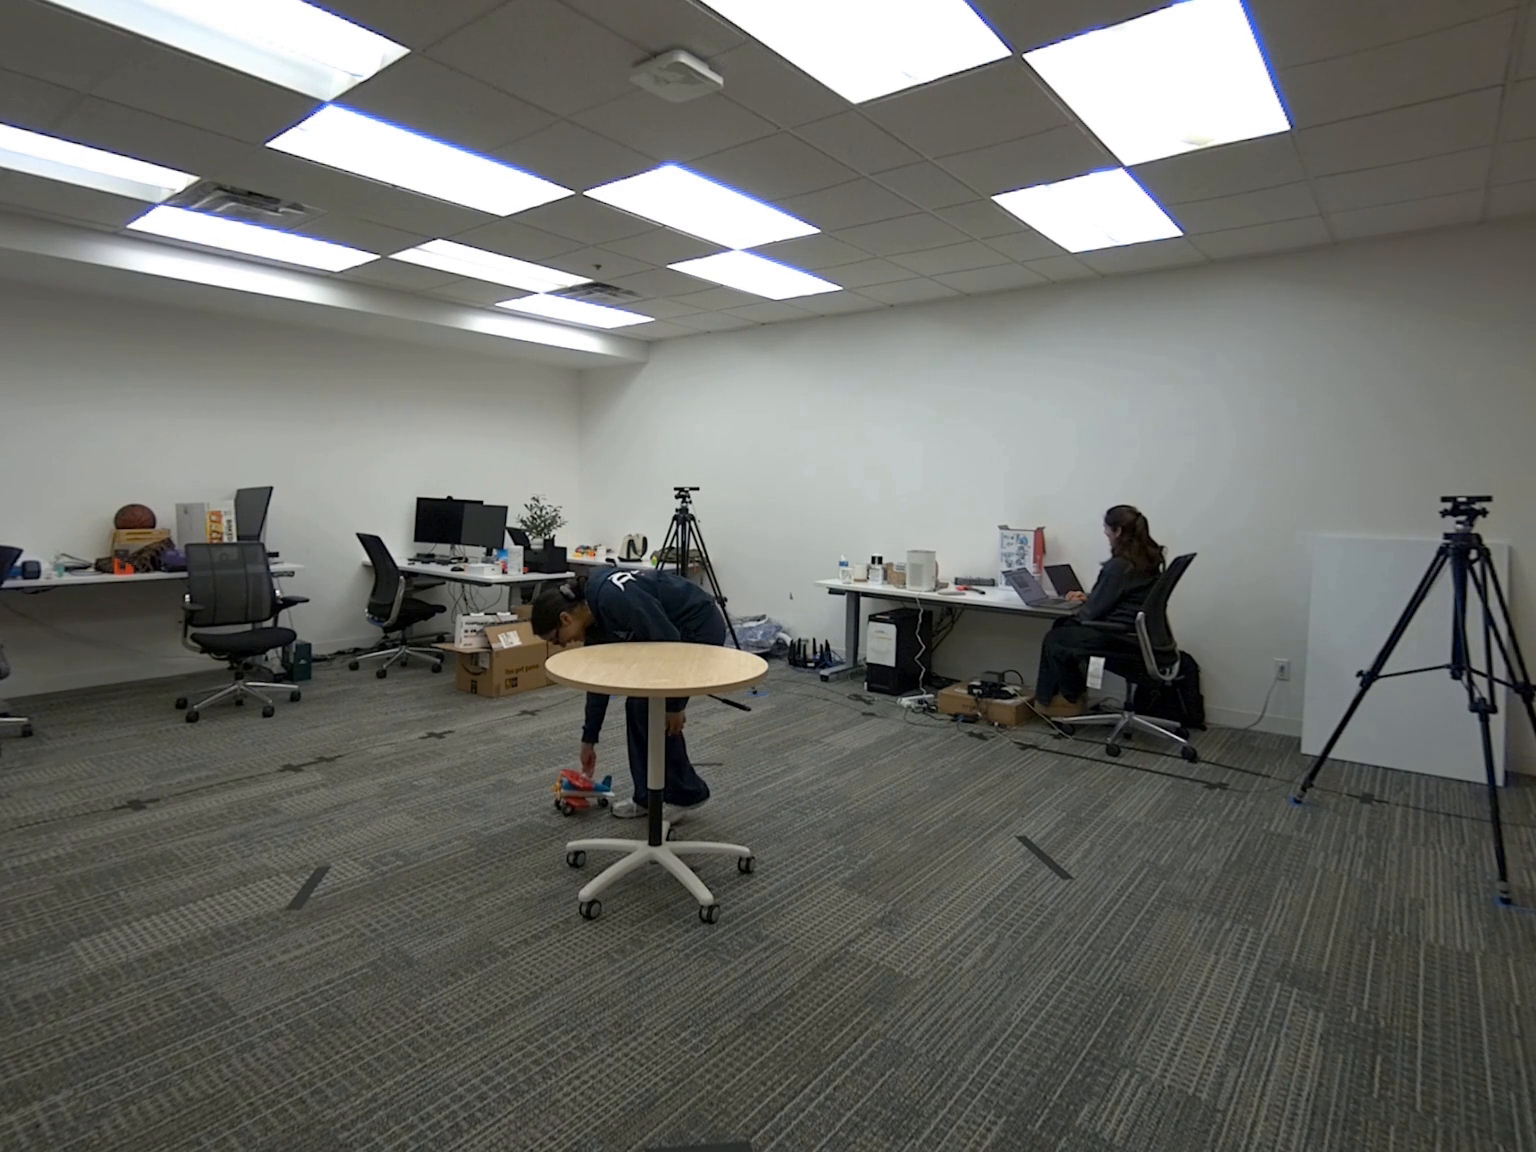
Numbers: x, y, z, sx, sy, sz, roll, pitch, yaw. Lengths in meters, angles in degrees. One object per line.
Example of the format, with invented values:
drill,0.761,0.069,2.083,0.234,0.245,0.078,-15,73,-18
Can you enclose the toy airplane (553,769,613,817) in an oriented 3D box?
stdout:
toy airplane,-0.823,0.934,3.691,0.259,0.156,0.252,3,5,32
